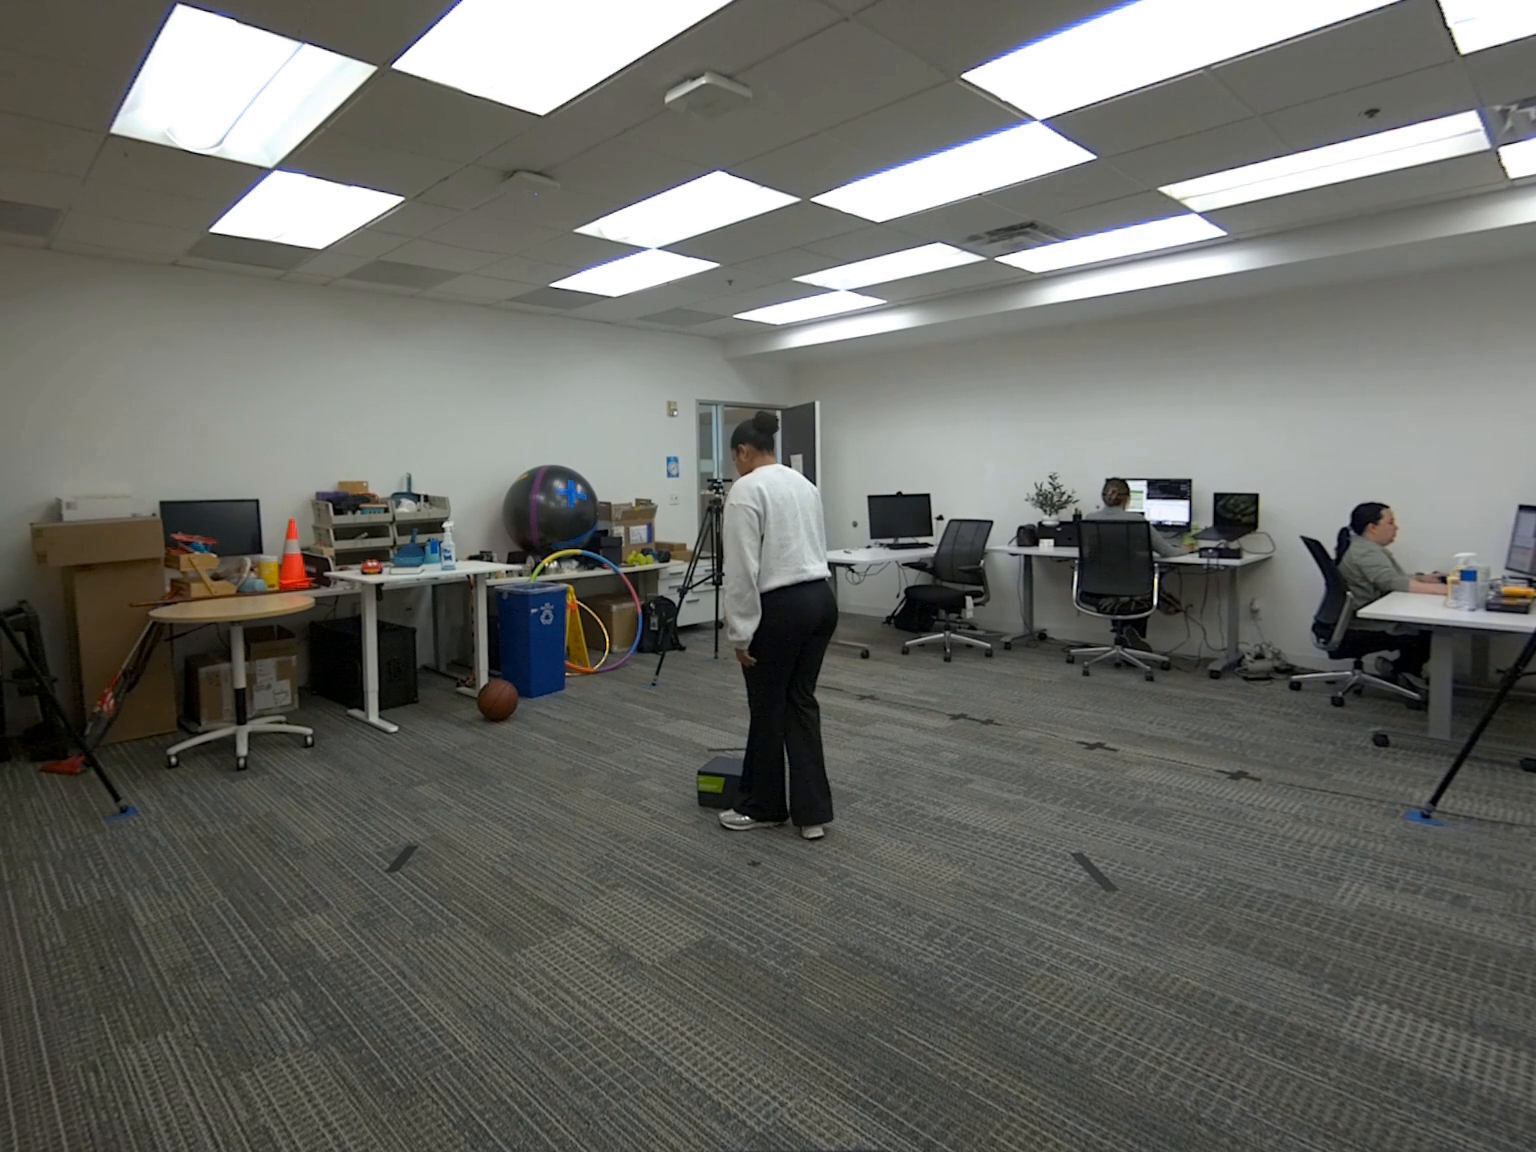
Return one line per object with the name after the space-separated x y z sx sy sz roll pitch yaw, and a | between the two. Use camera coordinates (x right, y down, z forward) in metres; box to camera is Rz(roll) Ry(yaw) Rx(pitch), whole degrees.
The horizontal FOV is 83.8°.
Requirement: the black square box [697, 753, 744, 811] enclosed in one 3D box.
-0.159 0.894 3.713 0.233 0.155 0.213 1 6 21 | black square box
